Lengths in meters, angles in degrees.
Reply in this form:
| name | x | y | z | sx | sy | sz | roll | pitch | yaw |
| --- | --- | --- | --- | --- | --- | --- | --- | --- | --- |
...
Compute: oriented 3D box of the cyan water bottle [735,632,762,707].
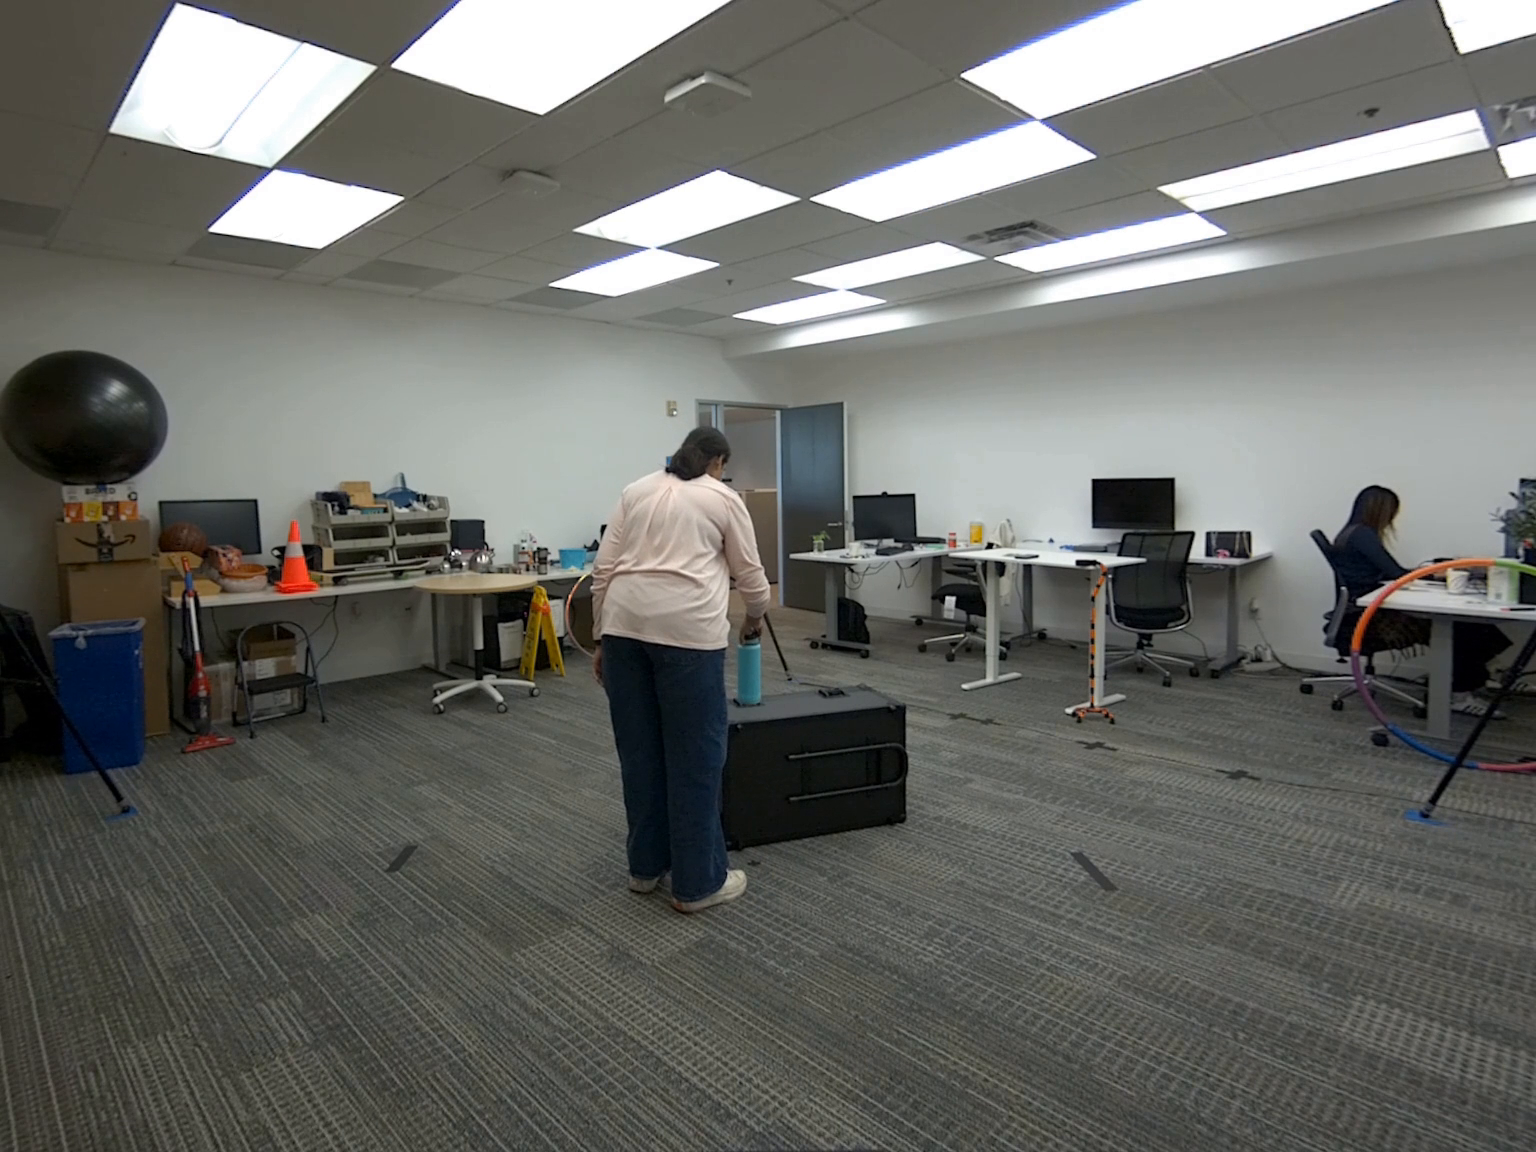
| name | x | y | z | sx | sy | sz | roll | pitch | yaw |
| --- | --- | --- | --- | --- | --- | --- | --- | --- | --- |
| cyan water bottle | -0.069 | 0.338 | 3.275 | 0.092 | 0.281 | 0.093 | -2 | 7 | -1 |
